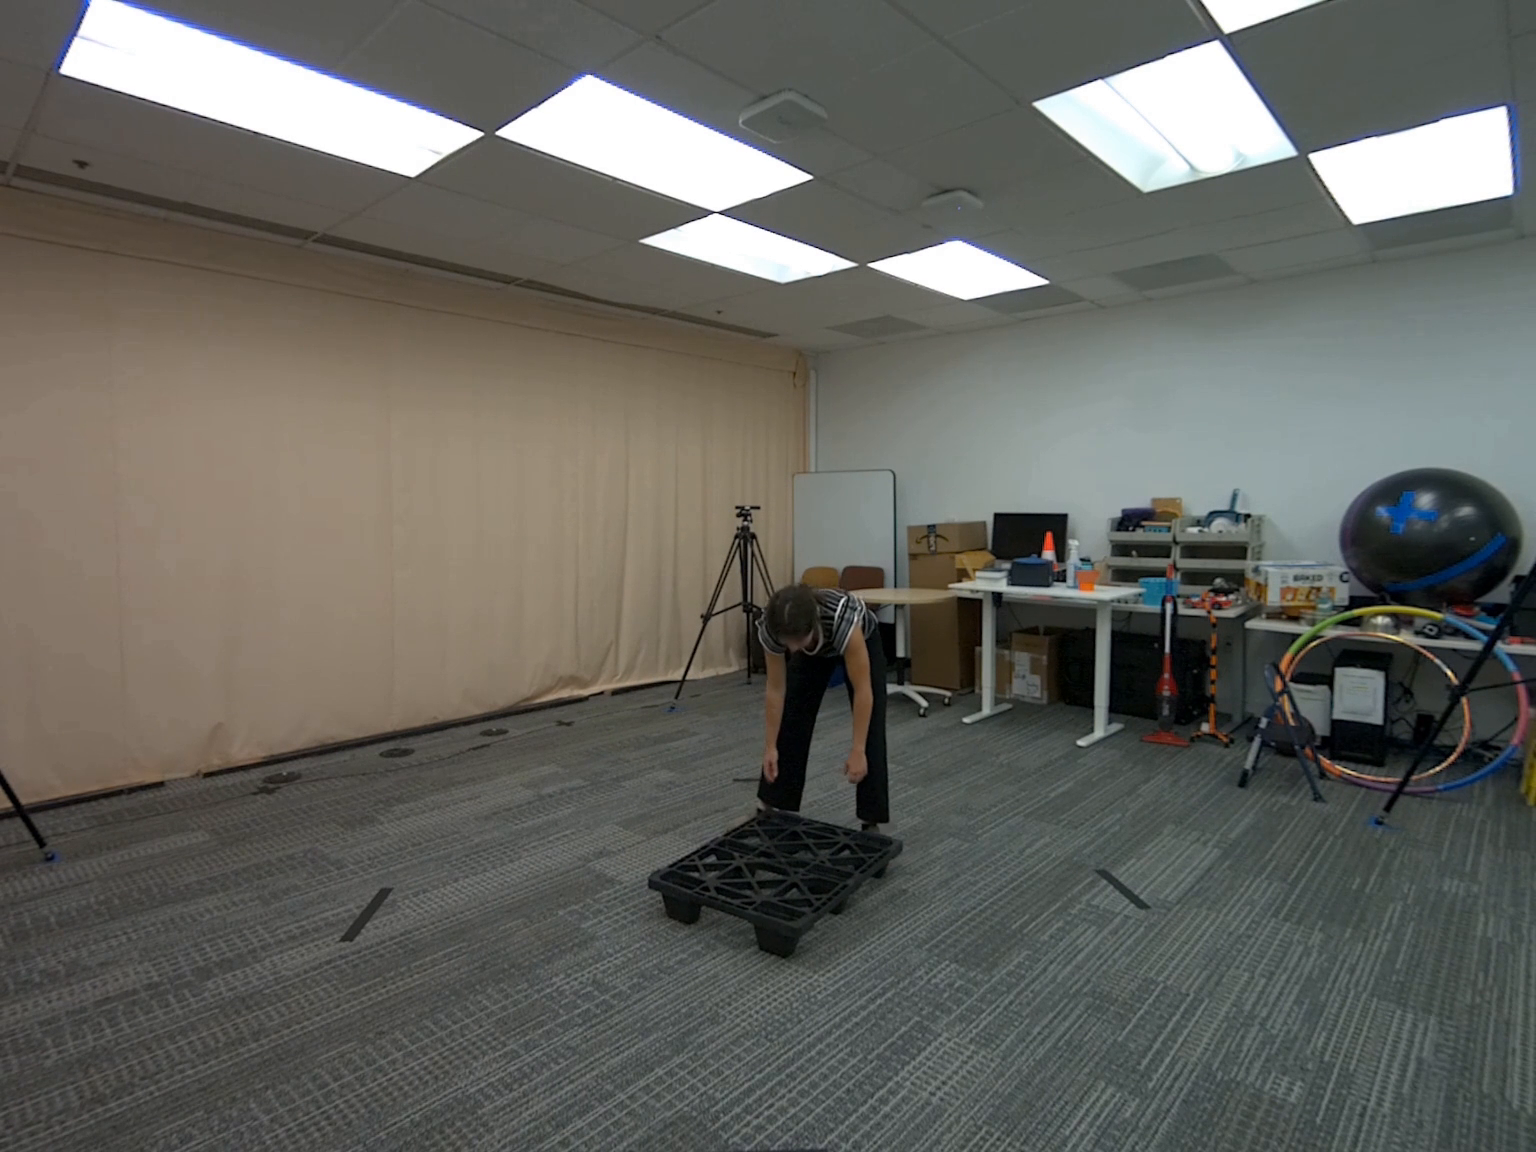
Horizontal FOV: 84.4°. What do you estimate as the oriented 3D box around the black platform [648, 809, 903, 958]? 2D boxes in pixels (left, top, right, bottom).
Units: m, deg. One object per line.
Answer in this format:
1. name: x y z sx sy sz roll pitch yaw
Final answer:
1. black platform: 0.054 1.076 3.009 0.624 0.143 0.783 4 7 34
